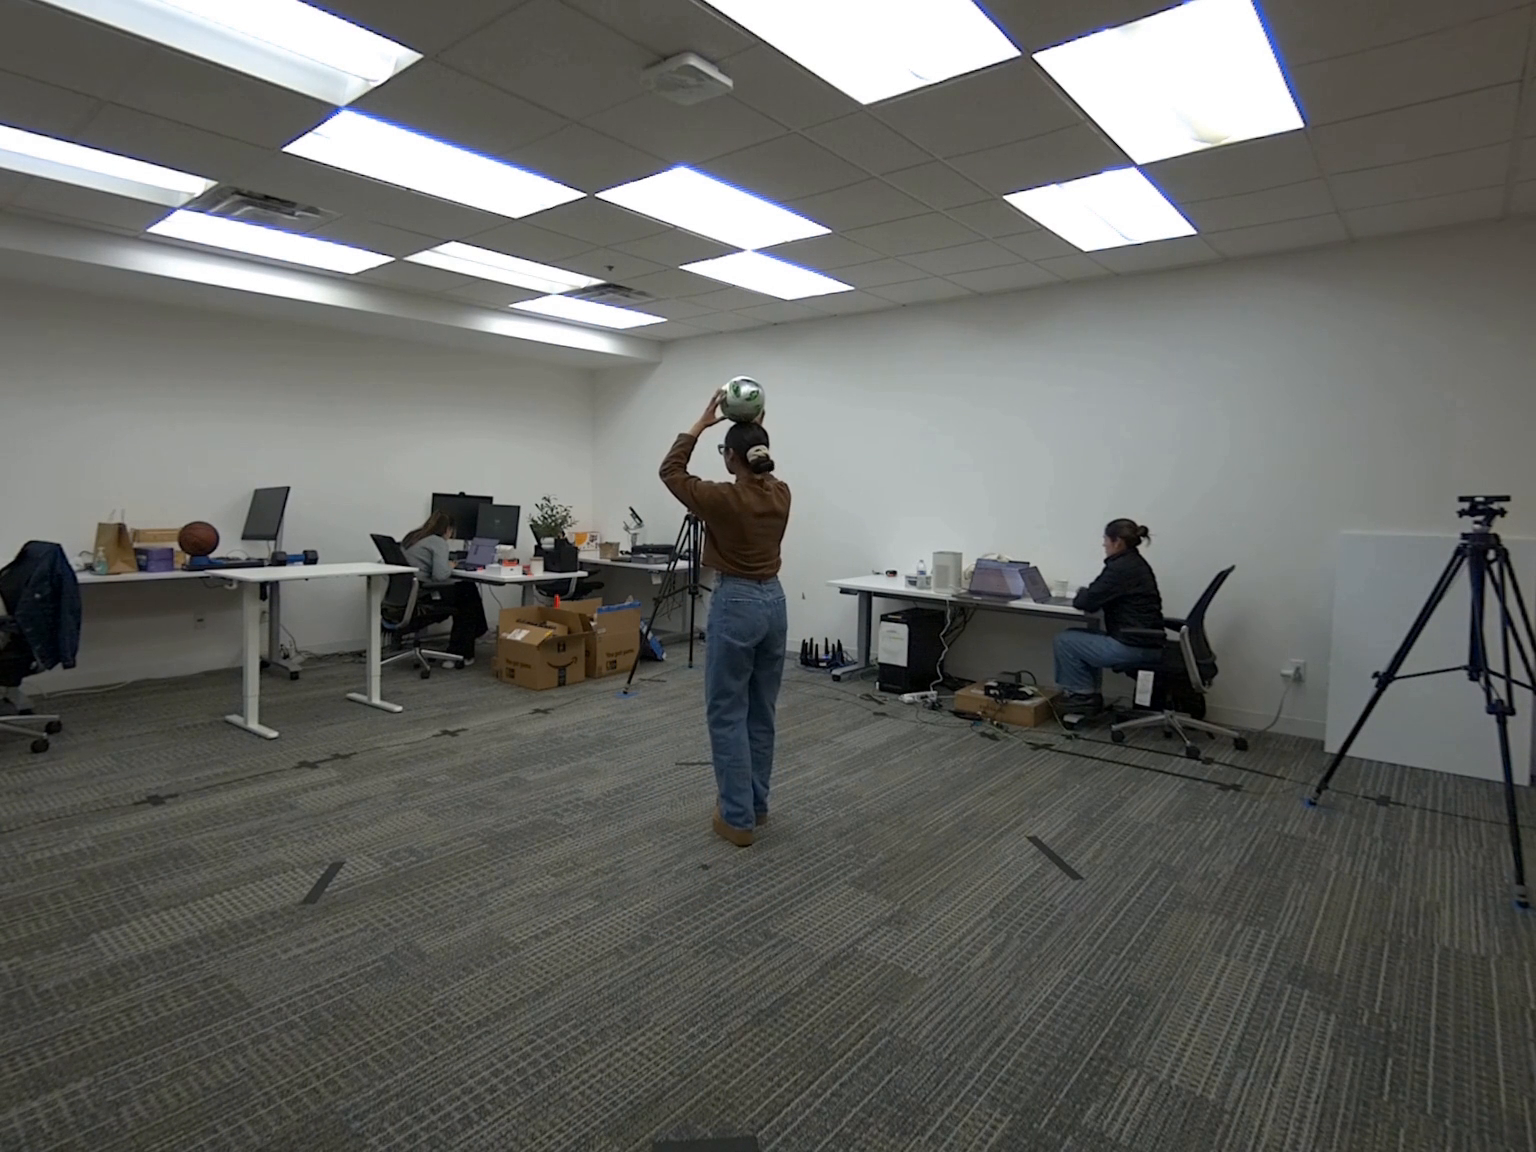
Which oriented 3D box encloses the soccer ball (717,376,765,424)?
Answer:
[{"bbox_3d":[-0.115,-0.711,3.431,0.187,0.187,0.188,1,4,-2],"label":"soccer ball"}]
